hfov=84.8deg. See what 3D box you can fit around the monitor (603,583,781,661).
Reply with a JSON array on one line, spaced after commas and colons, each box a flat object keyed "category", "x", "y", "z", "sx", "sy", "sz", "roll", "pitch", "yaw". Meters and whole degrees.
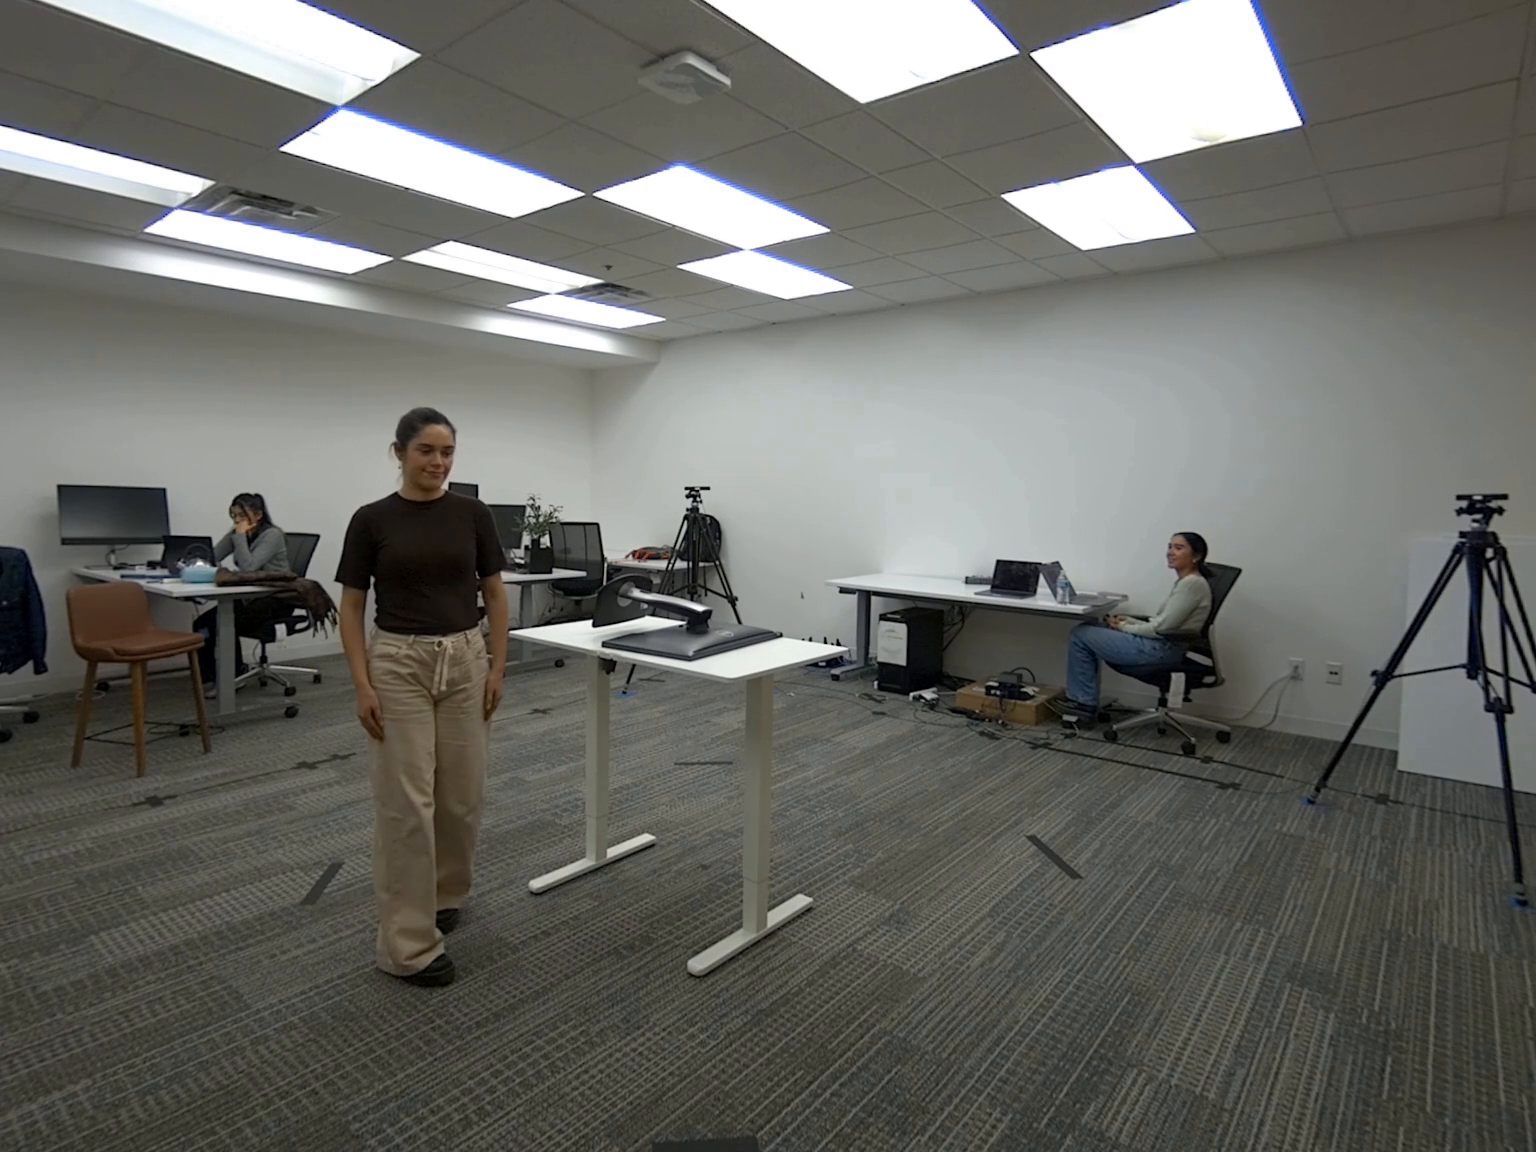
[{"category": "monitor", "x": -0.311, "y": 0.153, "z": 2.848, "sx": 0.542, "sy": 0.185, "sz": 0.525, "roll": 20, "pitch": 17, "yaw": 32}]
